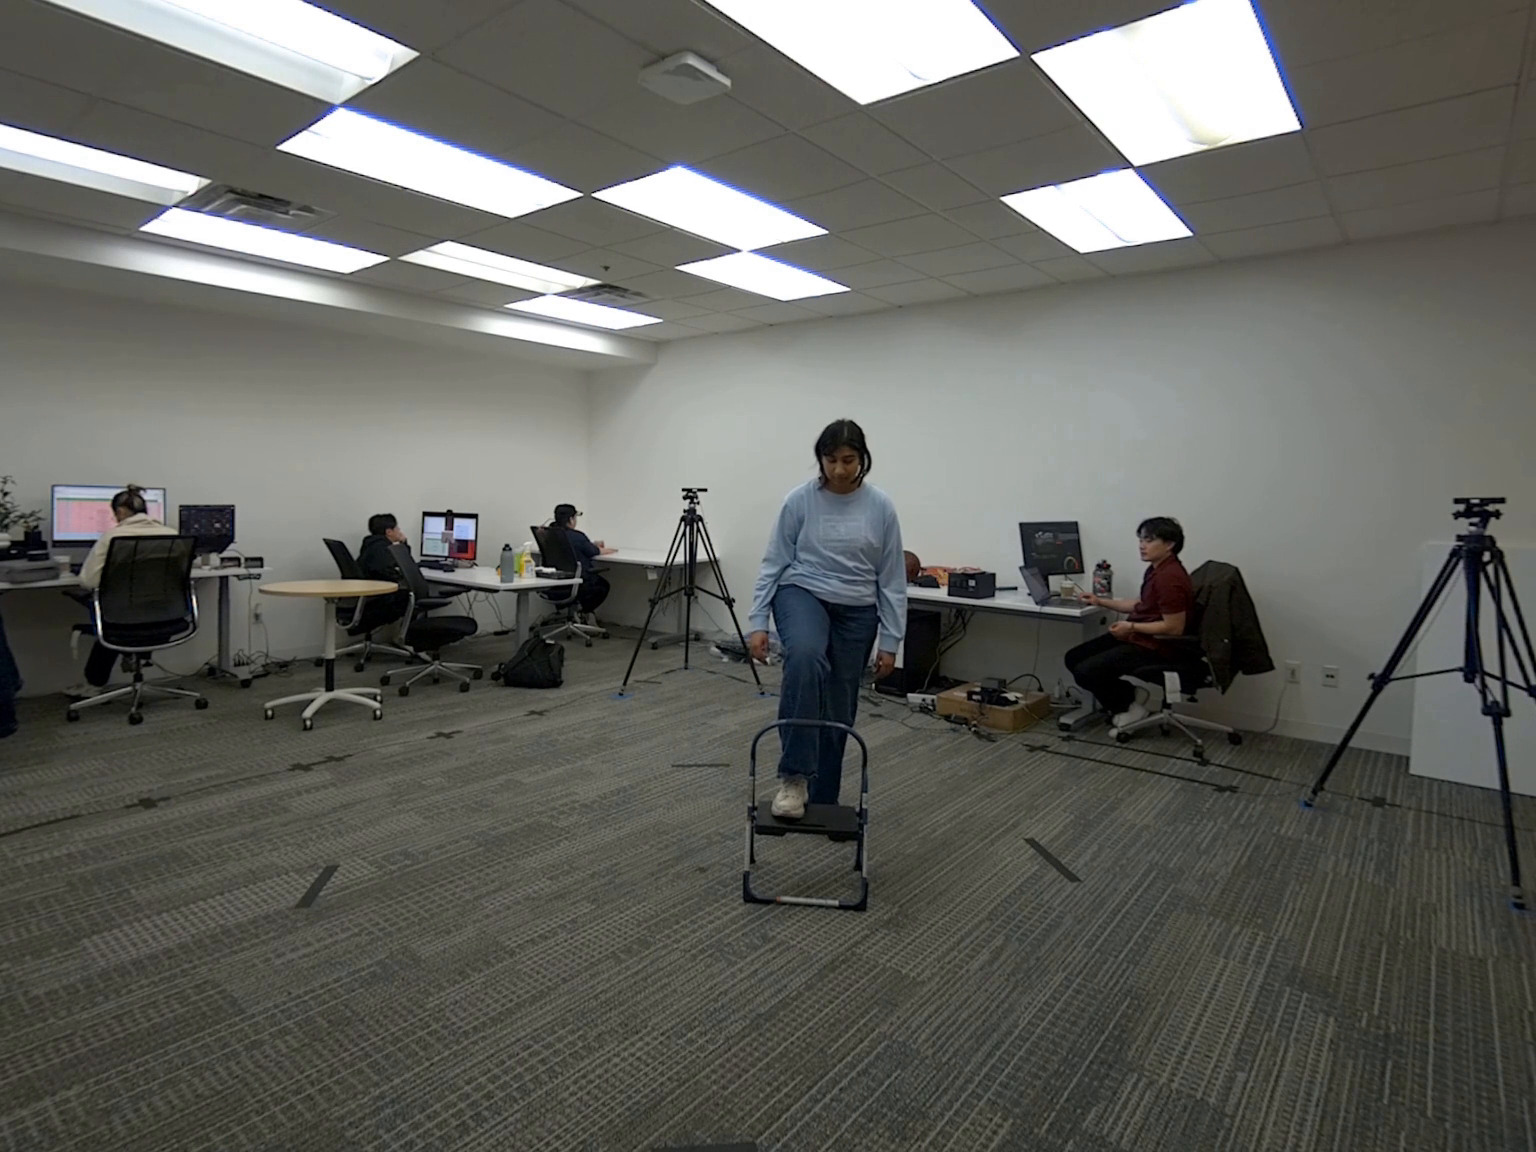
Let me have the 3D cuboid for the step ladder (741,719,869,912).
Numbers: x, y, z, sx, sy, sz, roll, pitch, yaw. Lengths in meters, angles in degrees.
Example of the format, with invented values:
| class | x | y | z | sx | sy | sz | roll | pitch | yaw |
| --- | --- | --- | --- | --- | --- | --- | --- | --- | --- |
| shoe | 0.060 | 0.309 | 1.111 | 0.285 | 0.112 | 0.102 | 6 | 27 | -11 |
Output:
| class | x | y | z | sx | sy | sz | roll | pitch | yaw |
| --- | --- | --- | --- | --- | --- | --- | --- | --- | --- |
| step ladder | 0.125 | 0.788 | 2.992 | 0.433 | 0.604 | 0.348 | 1 | 3 | 4 |
